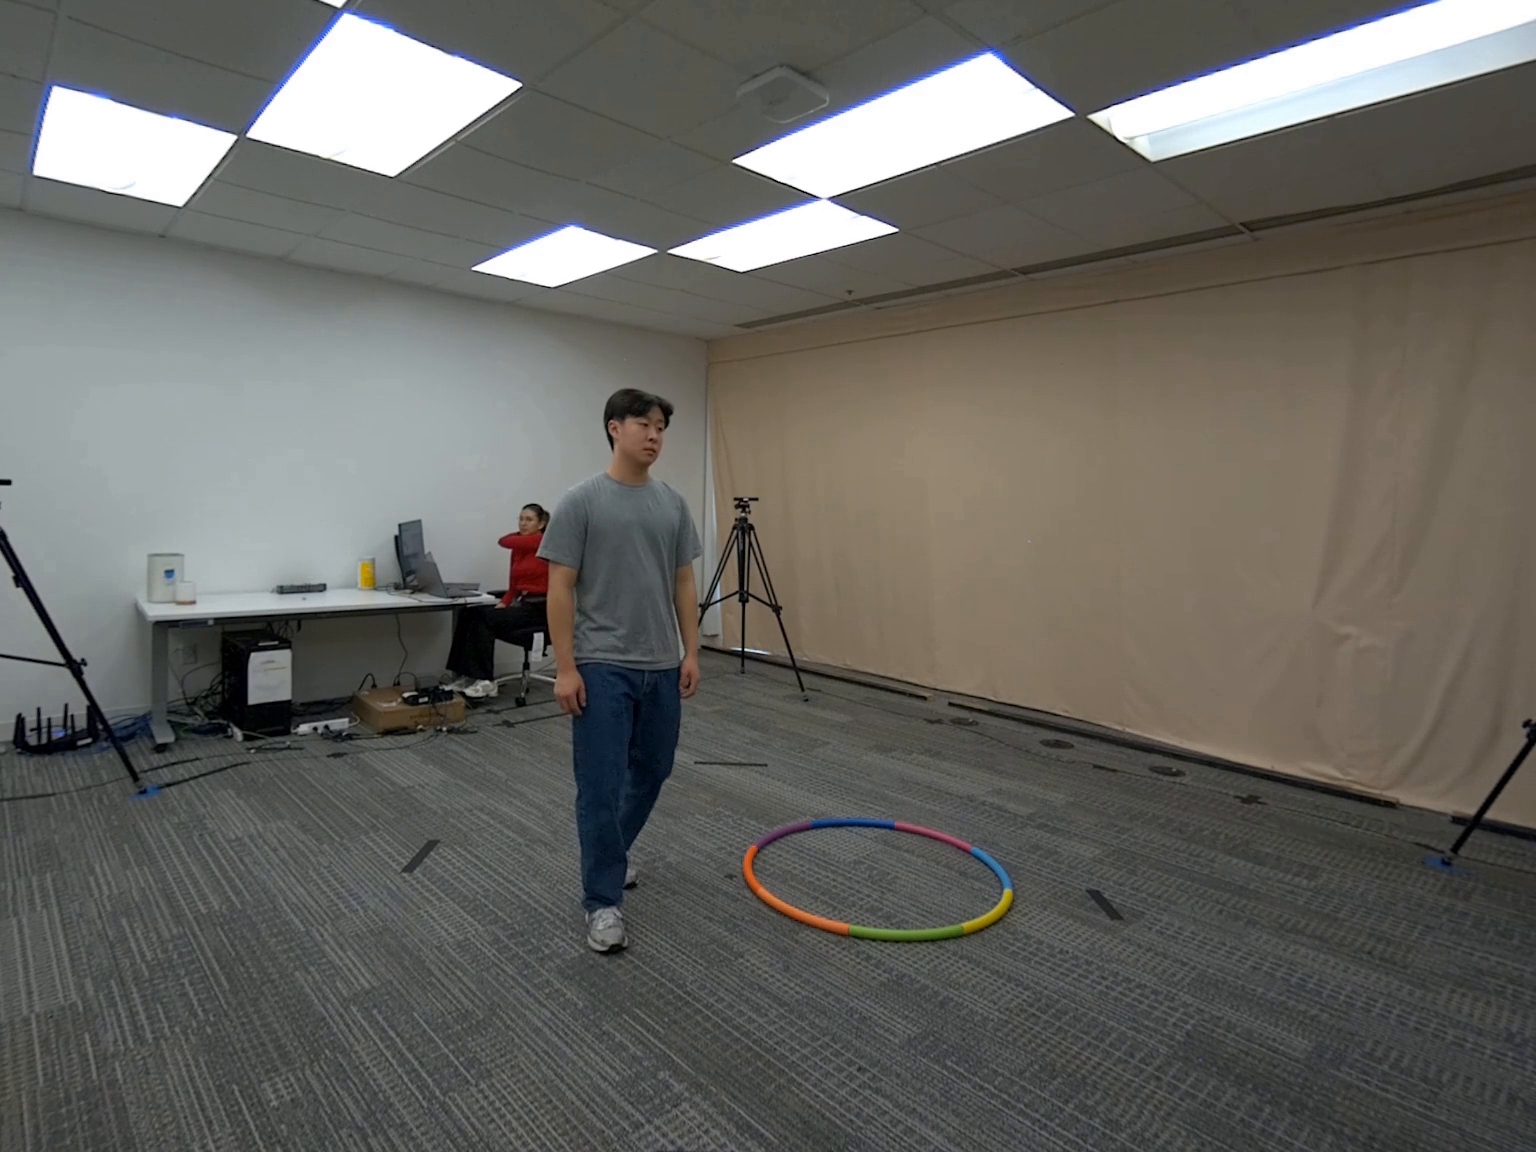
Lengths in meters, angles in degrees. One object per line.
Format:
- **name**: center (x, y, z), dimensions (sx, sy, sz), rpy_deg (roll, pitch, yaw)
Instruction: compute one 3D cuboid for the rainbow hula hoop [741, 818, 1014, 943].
- **rainbow hula hoop**: center (0.381, 1.085, 3.152), dimensions (0.978, 0.035, 0.982), rpy_deg (1, 5, -1)
